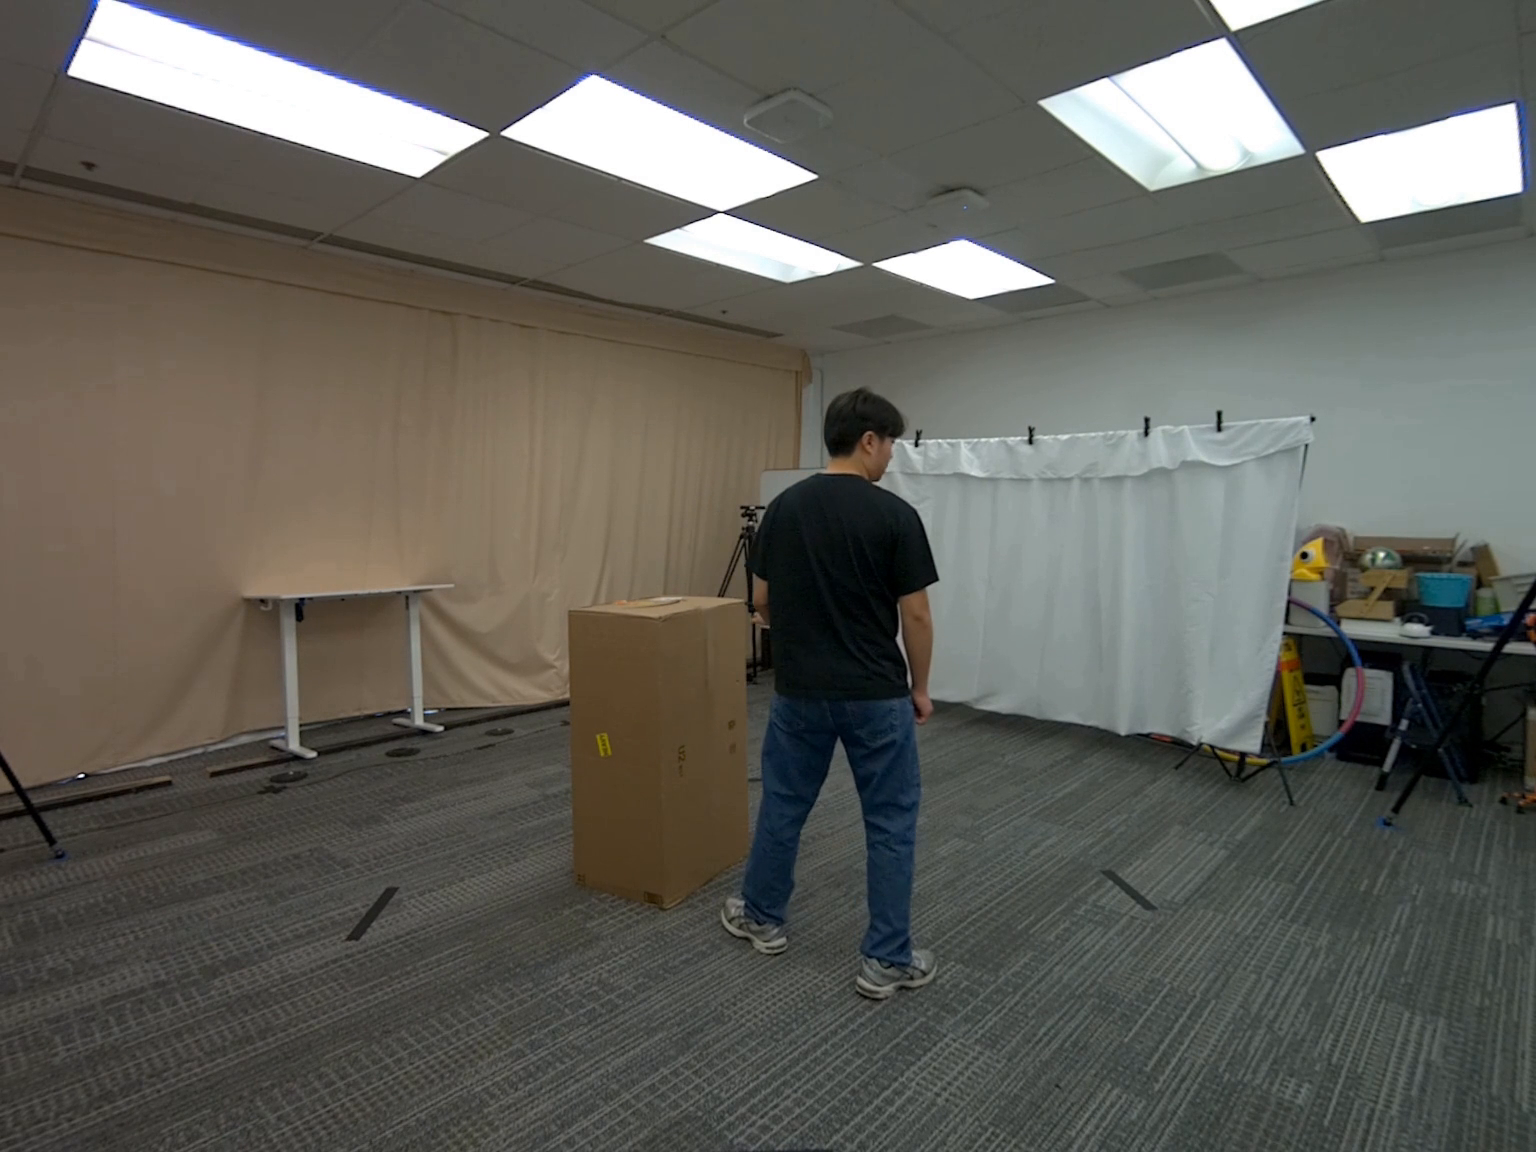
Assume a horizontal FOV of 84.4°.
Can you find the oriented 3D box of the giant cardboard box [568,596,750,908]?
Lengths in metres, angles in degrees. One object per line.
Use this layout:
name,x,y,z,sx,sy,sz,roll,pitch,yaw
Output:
giant cardboard box,-0.407,0.614,3.228,0.460,1.025,0.568,1,3,32
